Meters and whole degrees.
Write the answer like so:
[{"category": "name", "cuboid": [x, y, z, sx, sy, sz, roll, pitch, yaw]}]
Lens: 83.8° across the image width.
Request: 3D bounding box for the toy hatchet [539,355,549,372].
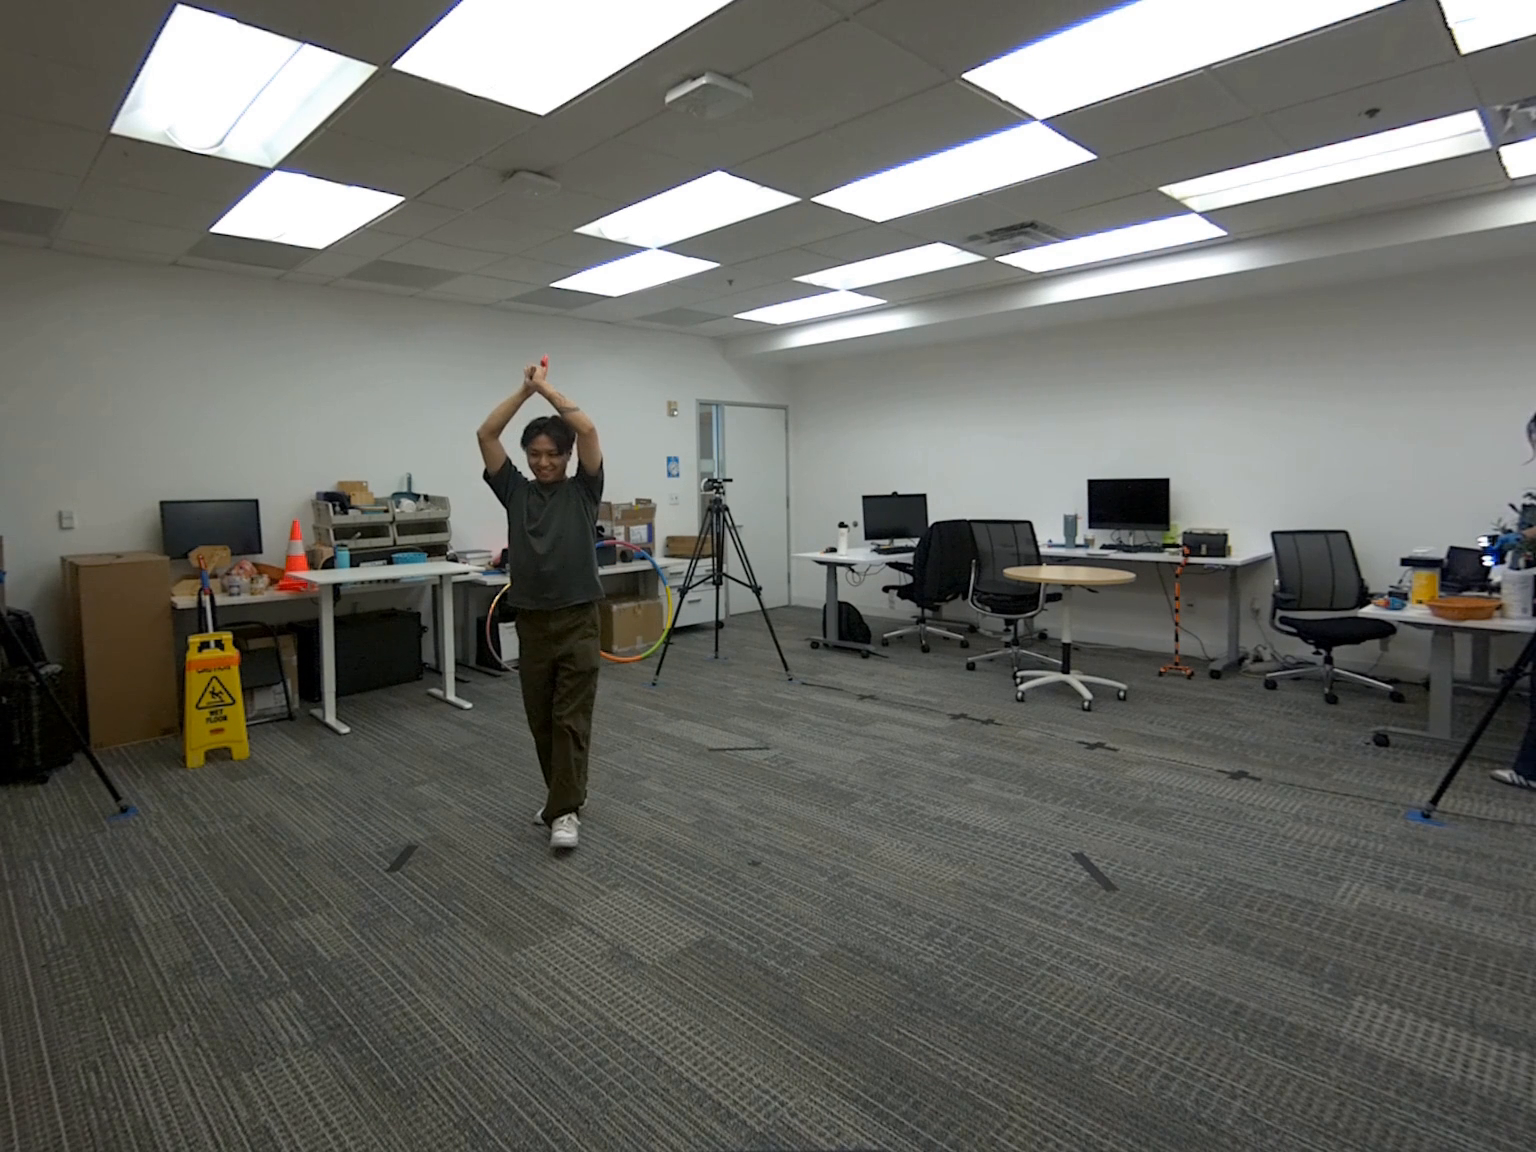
[{"category": "toy hatchet", "cuboid": [-0.896, -0.828, 3.369, 0.029, 0.131, 0.271, 17, 1, -6]}]
